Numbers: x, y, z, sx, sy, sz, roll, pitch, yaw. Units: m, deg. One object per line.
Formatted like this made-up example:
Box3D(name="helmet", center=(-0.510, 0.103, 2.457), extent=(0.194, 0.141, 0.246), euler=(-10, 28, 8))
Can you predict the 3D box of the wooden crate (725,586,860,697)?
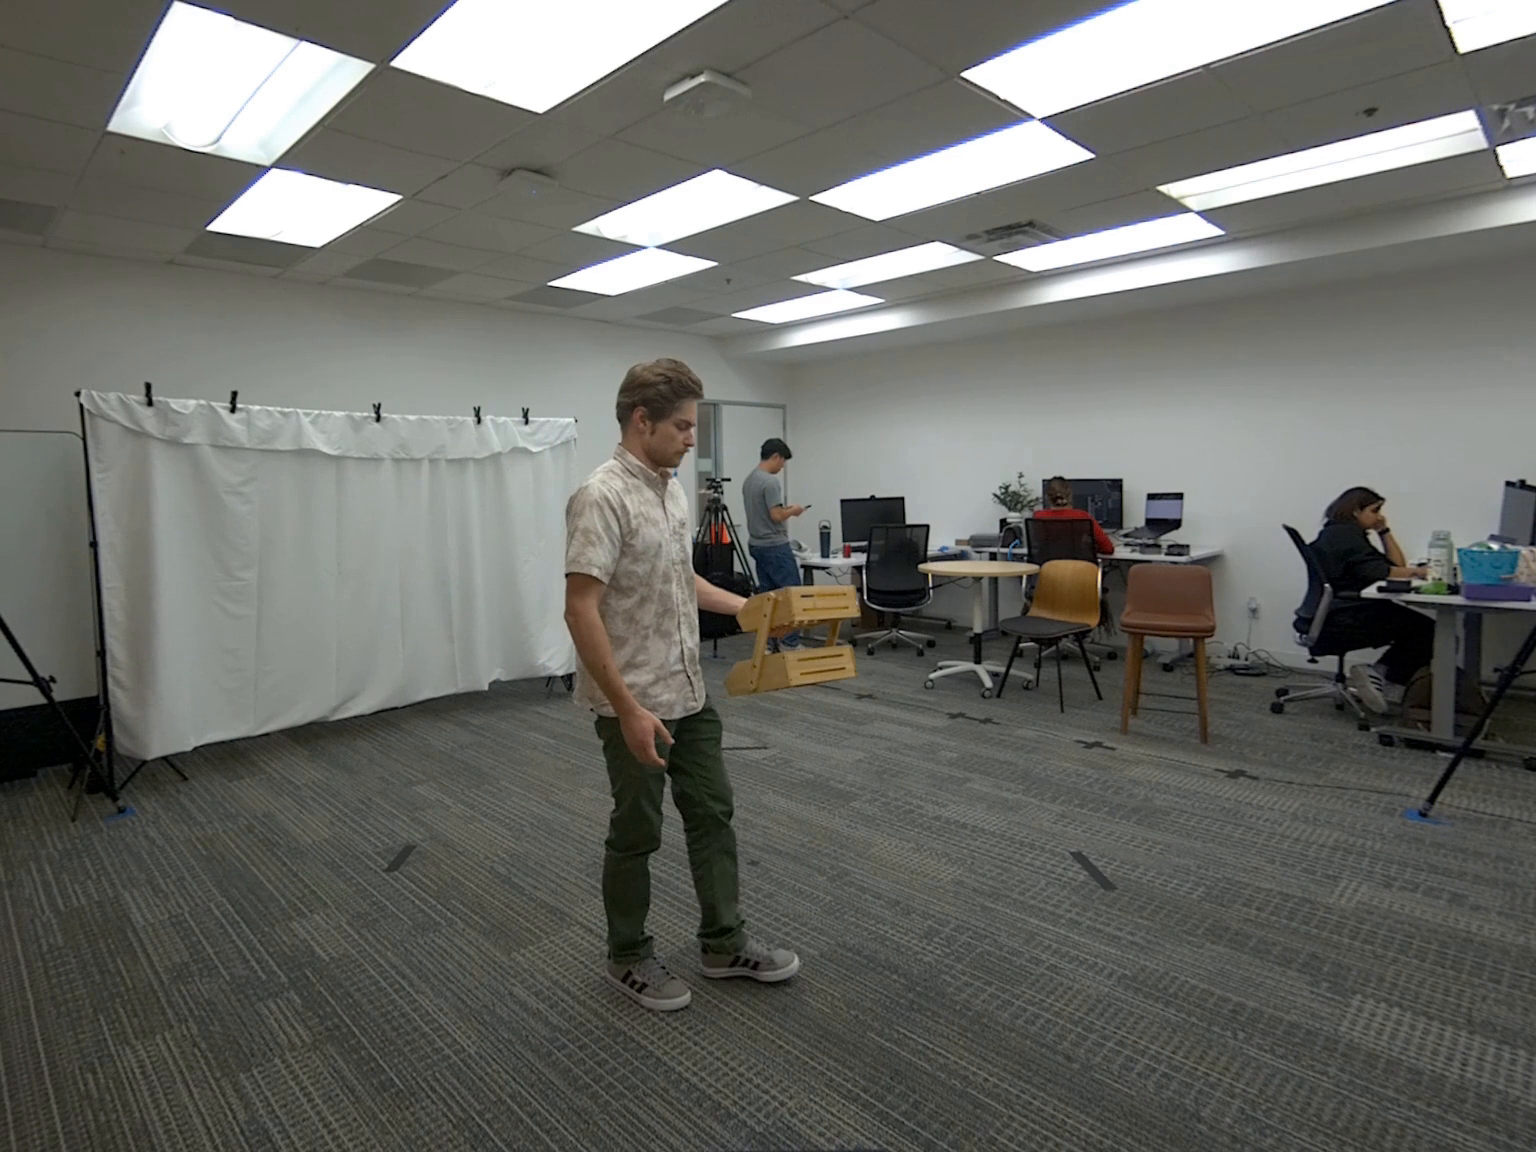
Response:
Box3D(name="wooden crate", center=(0.074, 0.184, 2.465), extent=(0.308, 0.276, 0.315), euler=(-18, -13, 42))
